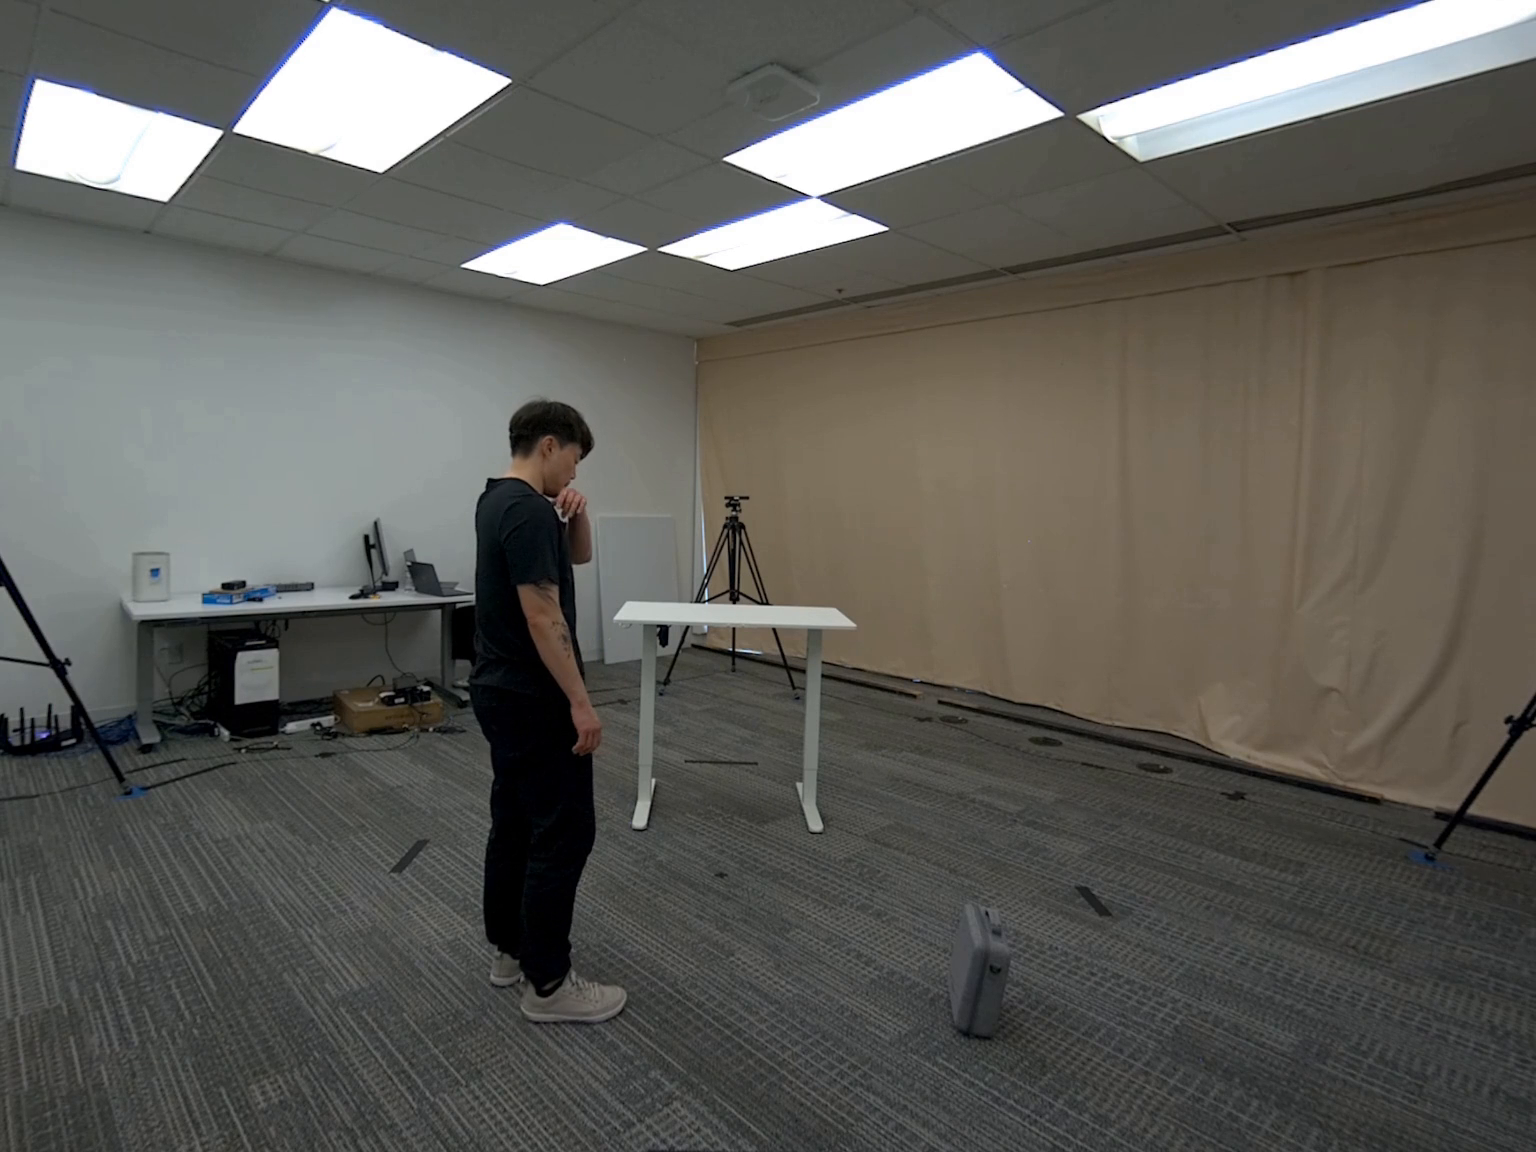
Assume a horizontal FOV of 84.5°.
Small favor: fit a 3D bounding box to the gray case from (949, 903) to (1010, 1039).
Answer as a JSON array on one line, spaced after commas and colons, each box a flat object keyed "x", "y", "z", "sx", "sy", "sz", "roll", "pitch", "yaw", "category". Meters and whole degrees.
[{"x": 0.567, "y": 1.065, "z": 2.292, "sx": 0.105, "sy": 0.260, "sz": 0.256, "roll": 10, "pitch": 6, "yaw": 7, "category": "gray case"}]
